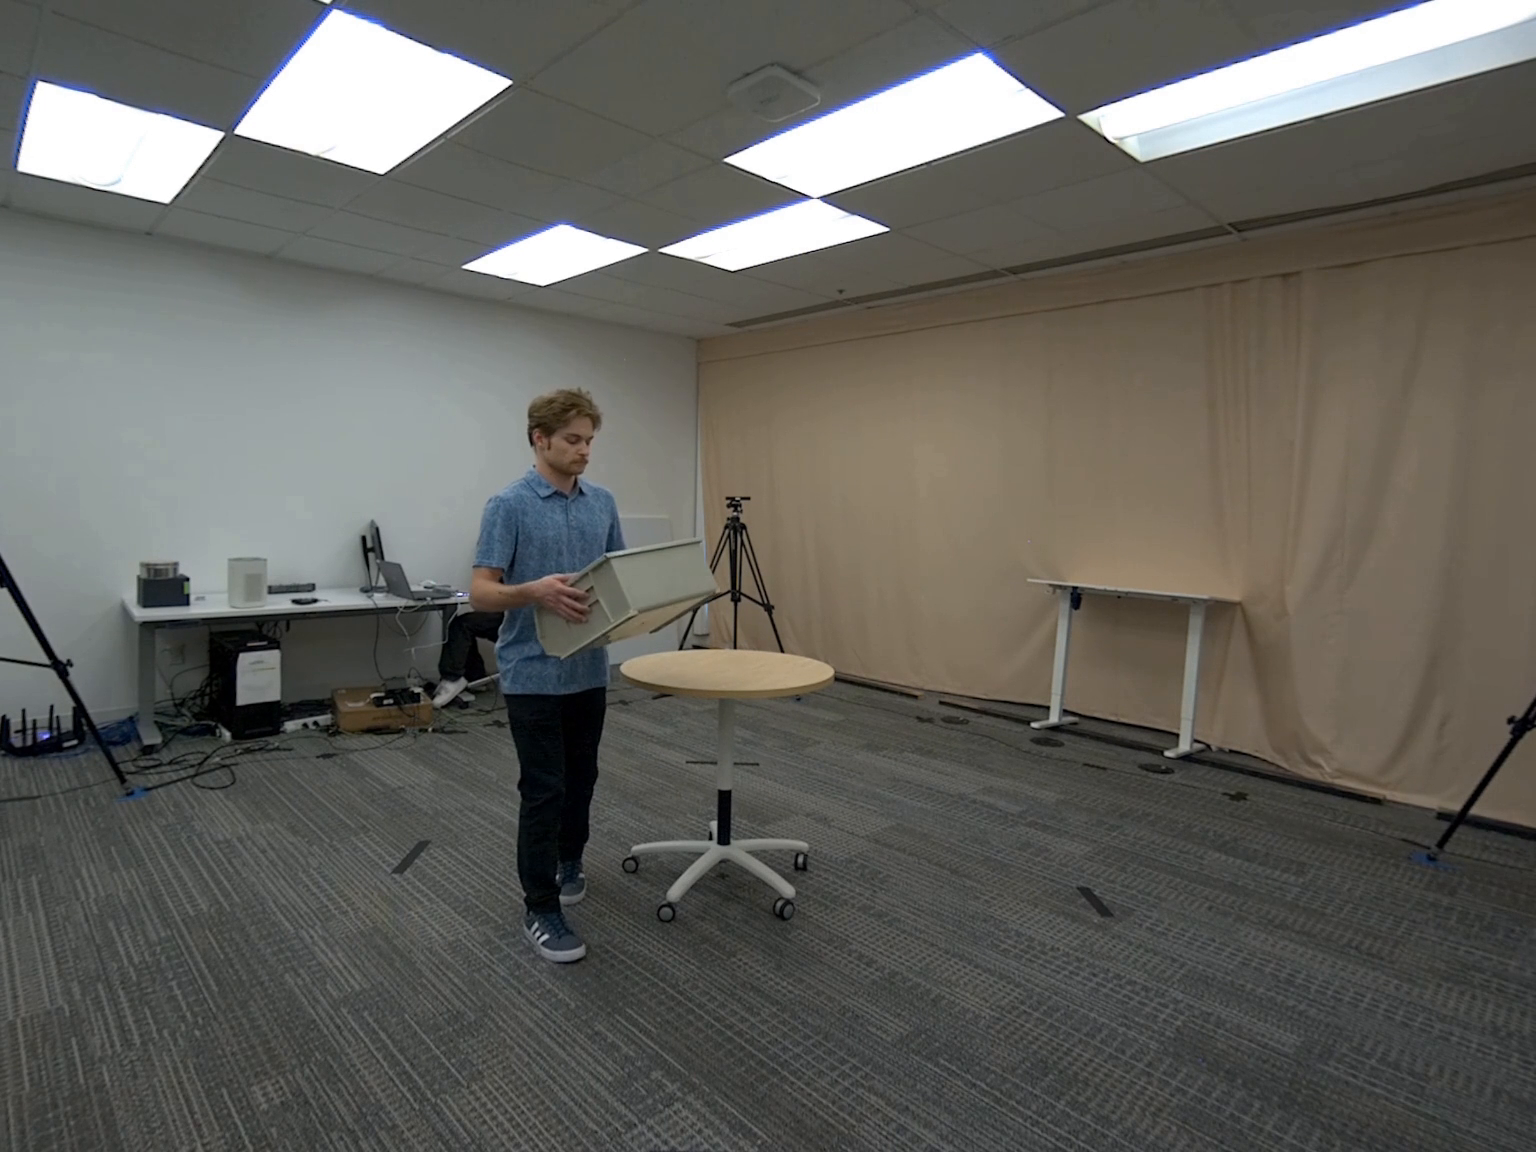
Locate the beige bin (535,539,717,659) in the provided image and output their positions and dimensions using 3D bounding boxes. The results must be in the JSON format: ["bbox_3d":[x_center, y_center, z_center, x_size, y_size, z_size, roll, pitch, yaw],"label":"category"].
[{"bbox_3d":[-0.416,0.072,2.458,0.380,0.191,0.415,-30,-9,34],"label":"beige bin"}]
